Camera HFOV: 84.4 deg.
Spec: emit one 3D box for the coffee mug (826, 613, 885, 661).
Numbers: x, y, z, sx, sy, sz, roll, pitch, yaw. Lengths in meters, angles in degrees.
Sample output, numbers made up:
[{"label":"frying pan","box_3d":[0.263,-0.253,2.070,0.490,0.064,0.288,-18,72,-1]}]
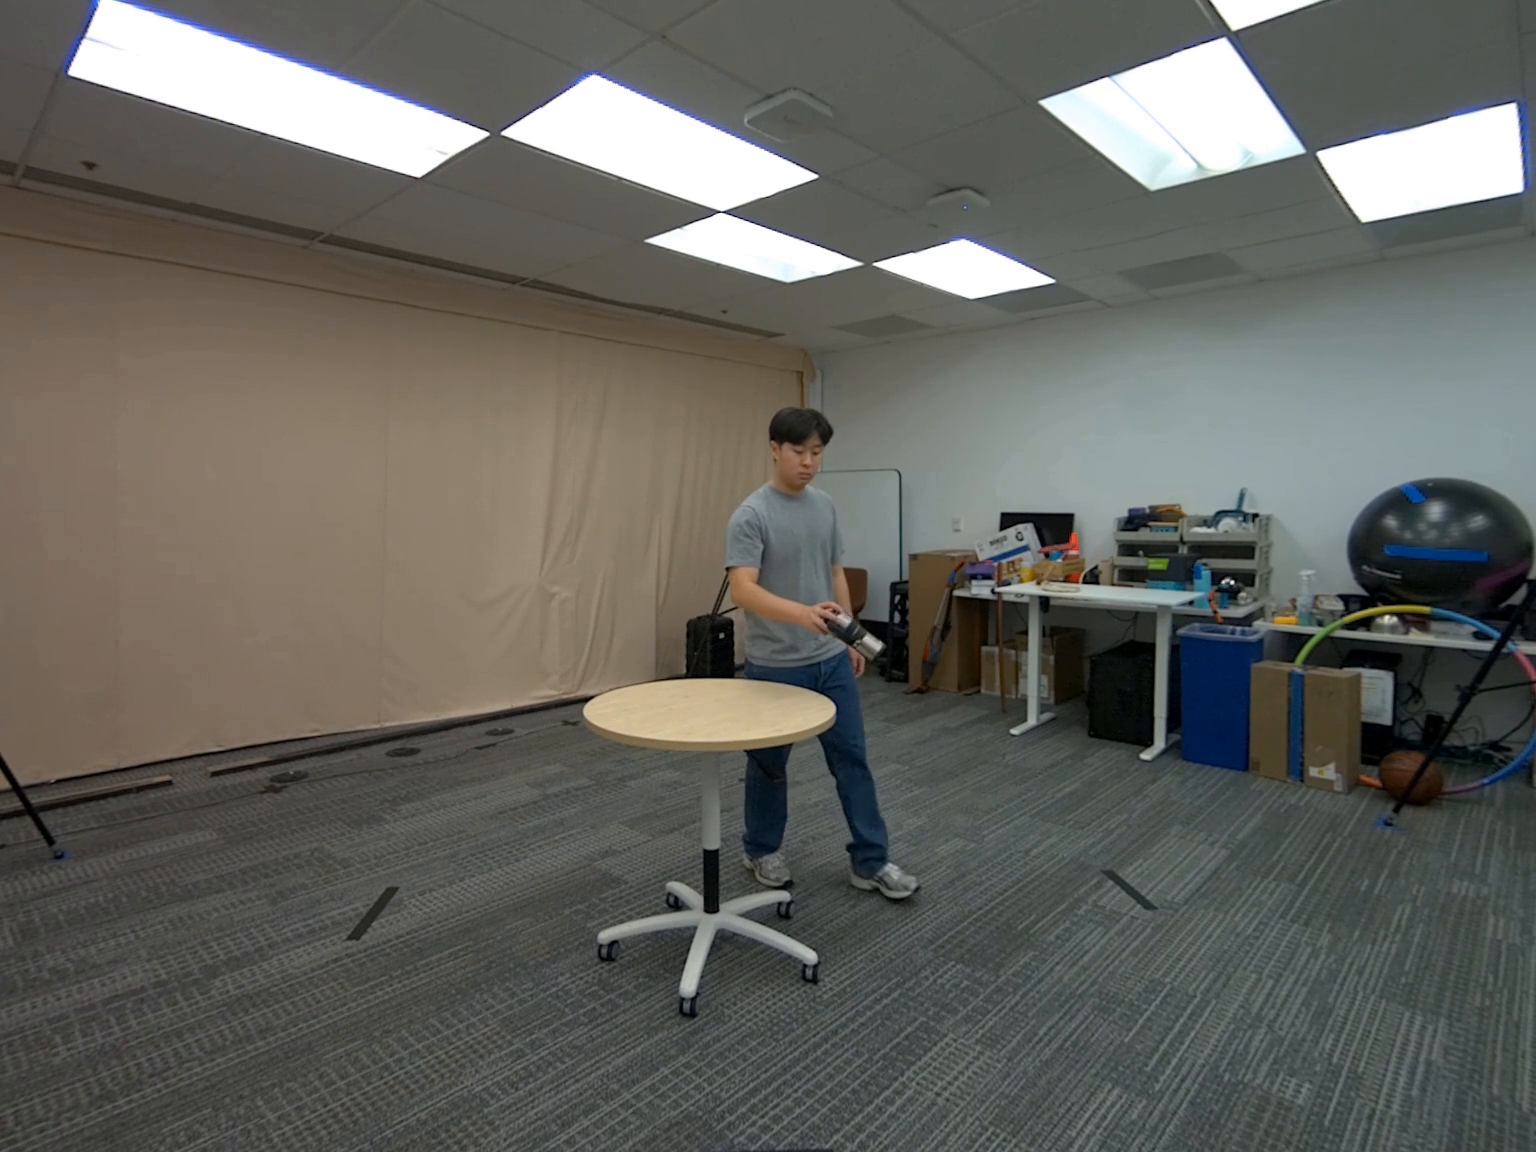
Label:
[{"label":"coffee mug","box_3d":[0.247,0.198,2.609,0.121,0.205,0.088,-42,-10,-30]}]
